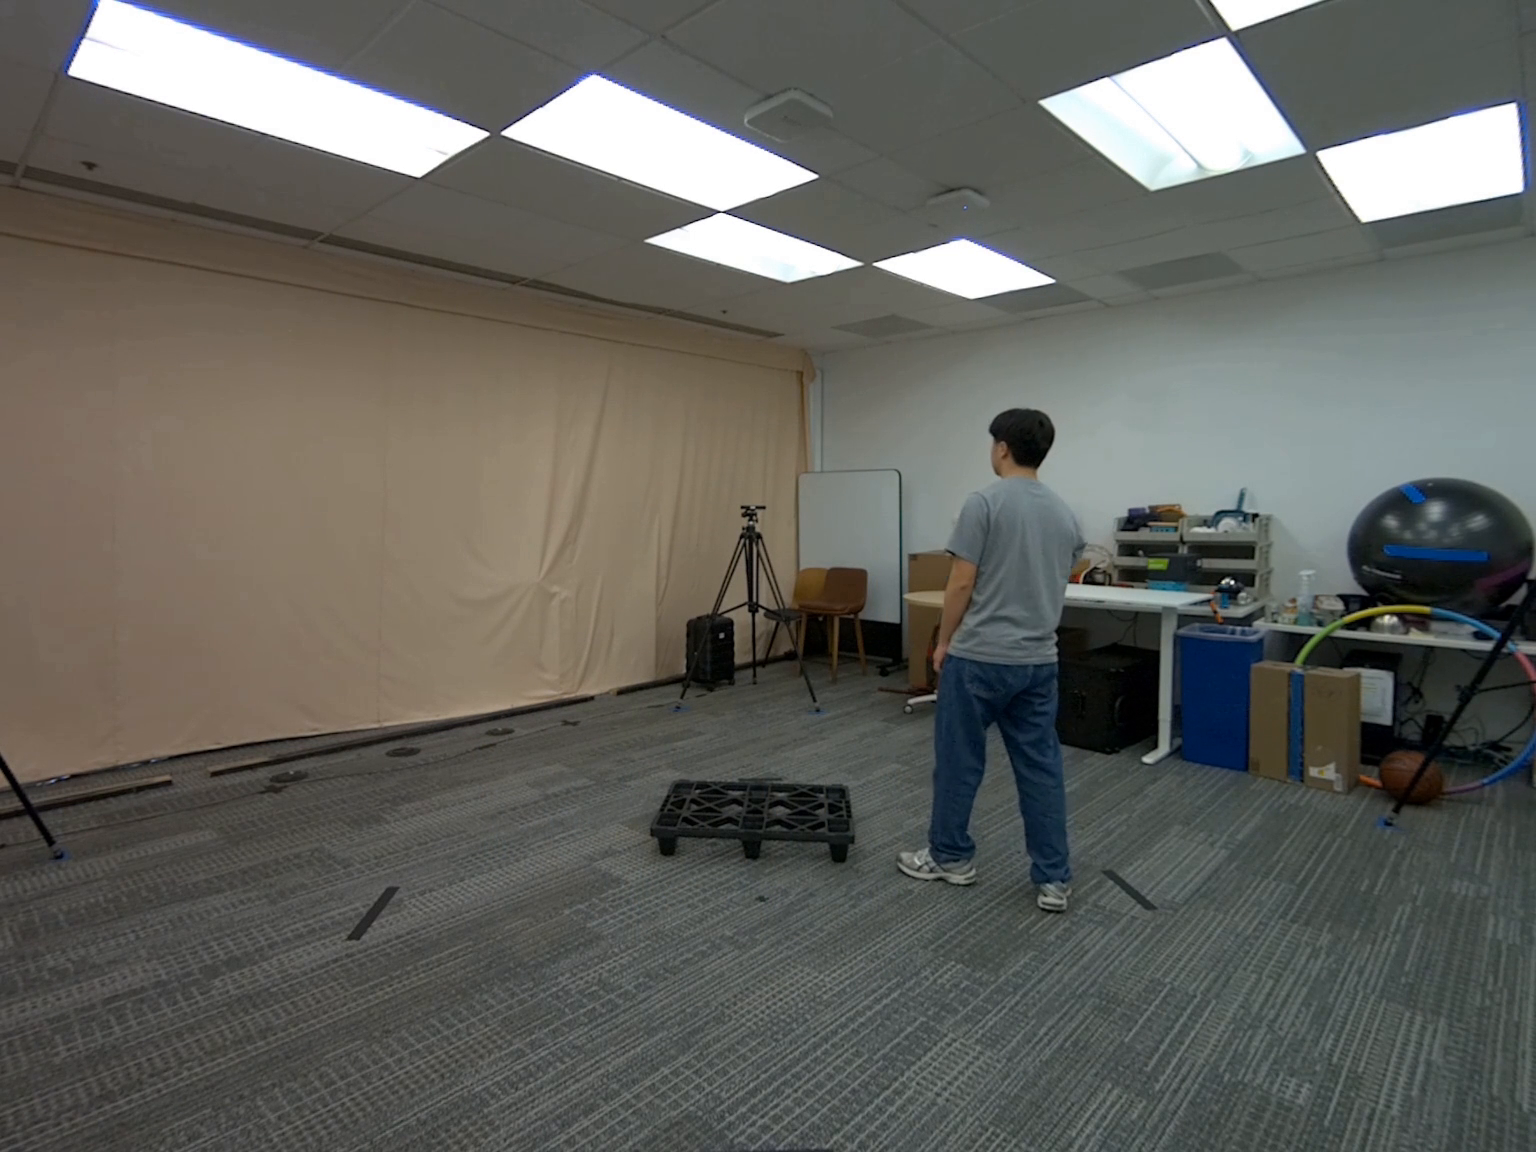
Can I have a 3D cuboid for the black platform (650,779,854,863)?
[{"bbox_3d":[-0.046,1.028,3.541,0.811,0.143,0.603,0,5,5],"label":"black platform"}]
